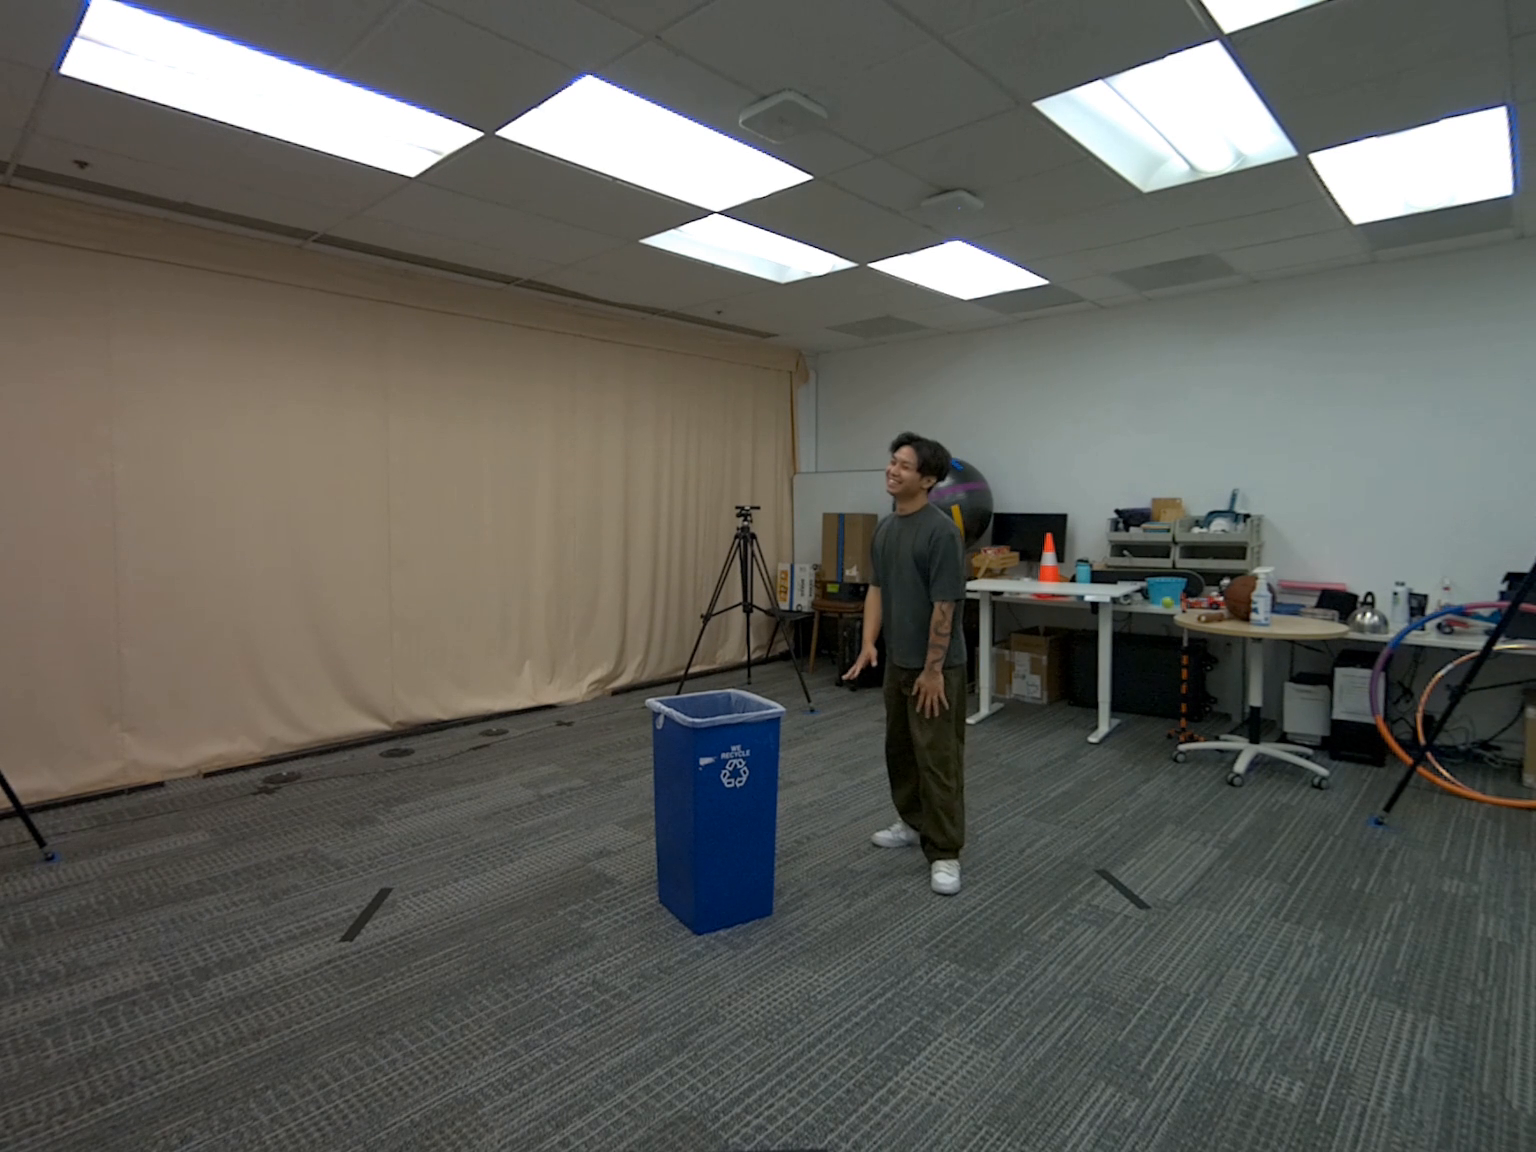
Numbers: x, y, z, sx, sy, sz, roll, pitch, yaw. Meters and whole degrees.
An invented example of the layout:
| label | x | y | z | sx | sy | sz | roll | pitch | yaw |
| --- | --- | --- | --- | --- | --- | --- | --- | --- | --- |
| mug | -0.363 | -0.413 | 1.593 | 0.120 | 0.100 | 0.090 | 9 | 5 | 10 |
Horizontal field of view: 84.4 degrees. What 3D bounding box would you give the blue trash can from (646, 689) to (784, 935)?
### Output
| label | x | y | z | sx | sy | sz | roll | pitch | yaw |
| --- | --- | --- | --- | --- | --- | --- | --- | --- | --- |
| blue trash can | -0.176 | 0.792 | 2.914 | 0.364 | 0.712 | 0.389 | -2 | 4 | -32 |
